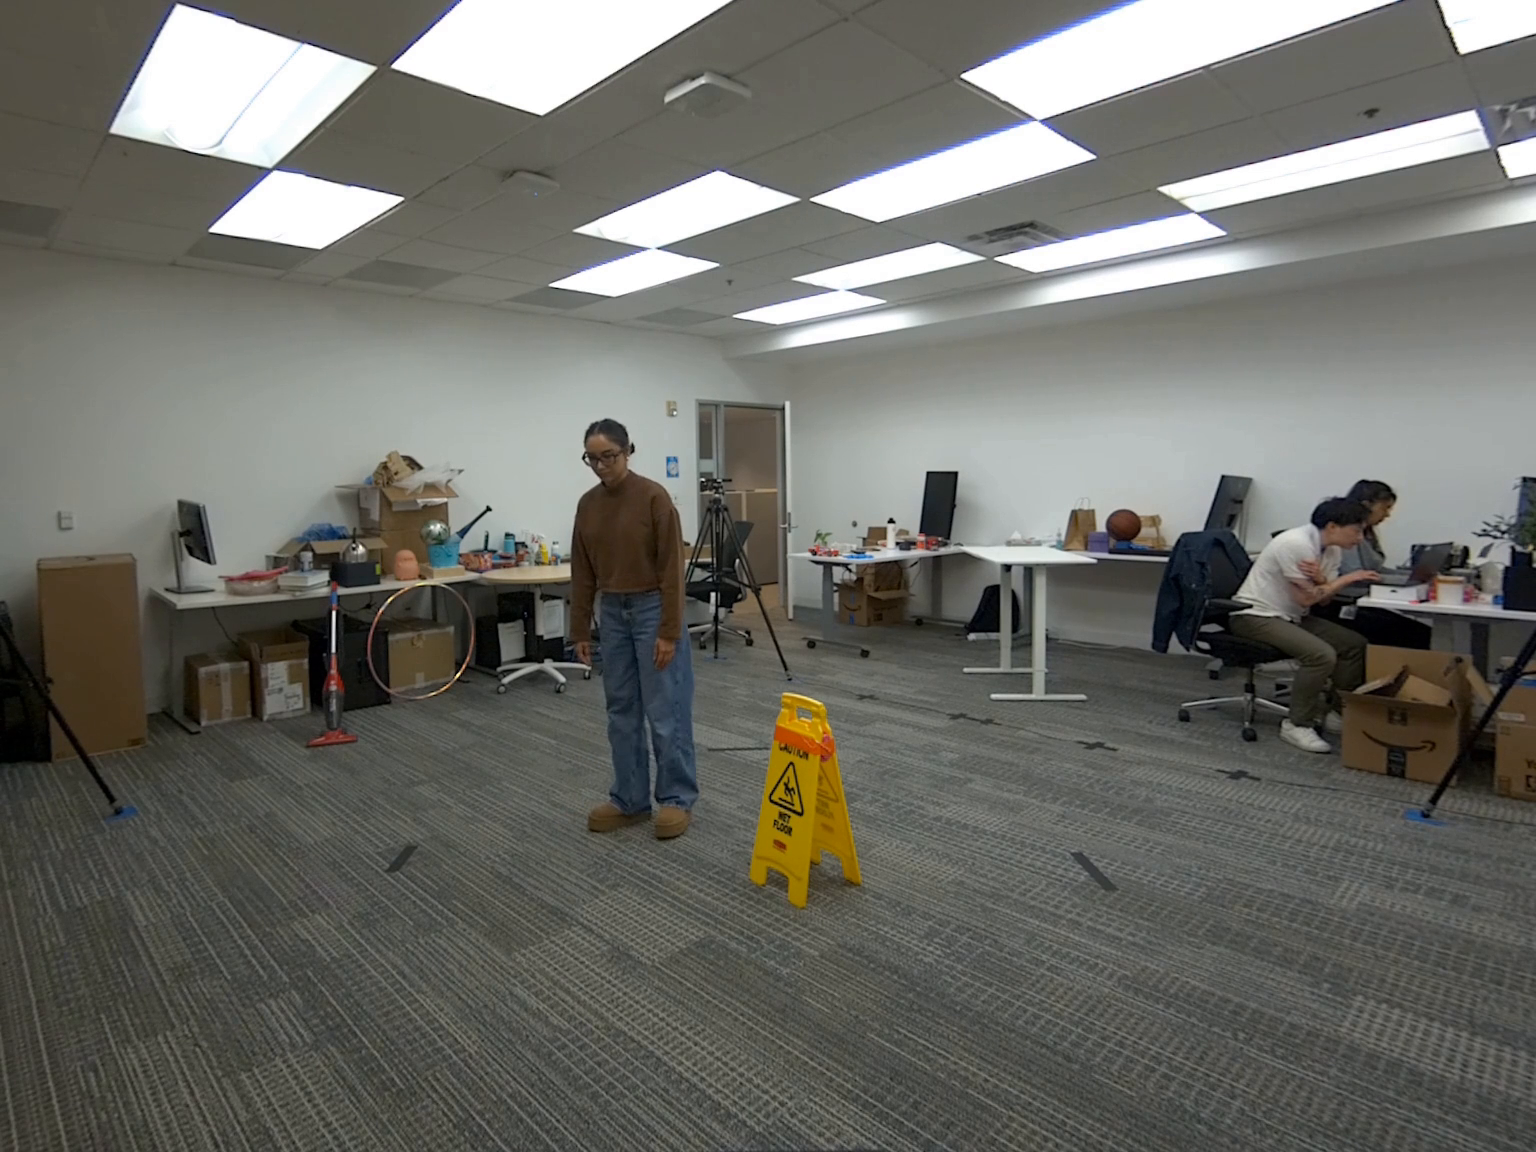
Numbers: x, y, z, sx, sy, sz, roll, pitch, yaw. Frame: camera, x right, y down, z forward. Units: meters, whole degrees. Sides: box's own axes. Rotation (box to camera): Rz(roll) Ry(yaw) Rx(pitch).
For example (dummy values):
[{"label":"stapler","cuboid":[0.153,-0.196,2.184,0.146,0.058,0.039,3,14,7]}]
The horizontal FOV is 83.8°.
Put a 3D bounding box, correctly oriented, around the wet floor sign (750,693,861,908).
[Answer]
[{"label":"wet floor sign","cuboid":[0.124,0.737,2.934,0.282,0.644,0.291,-4,5,-39]}]
